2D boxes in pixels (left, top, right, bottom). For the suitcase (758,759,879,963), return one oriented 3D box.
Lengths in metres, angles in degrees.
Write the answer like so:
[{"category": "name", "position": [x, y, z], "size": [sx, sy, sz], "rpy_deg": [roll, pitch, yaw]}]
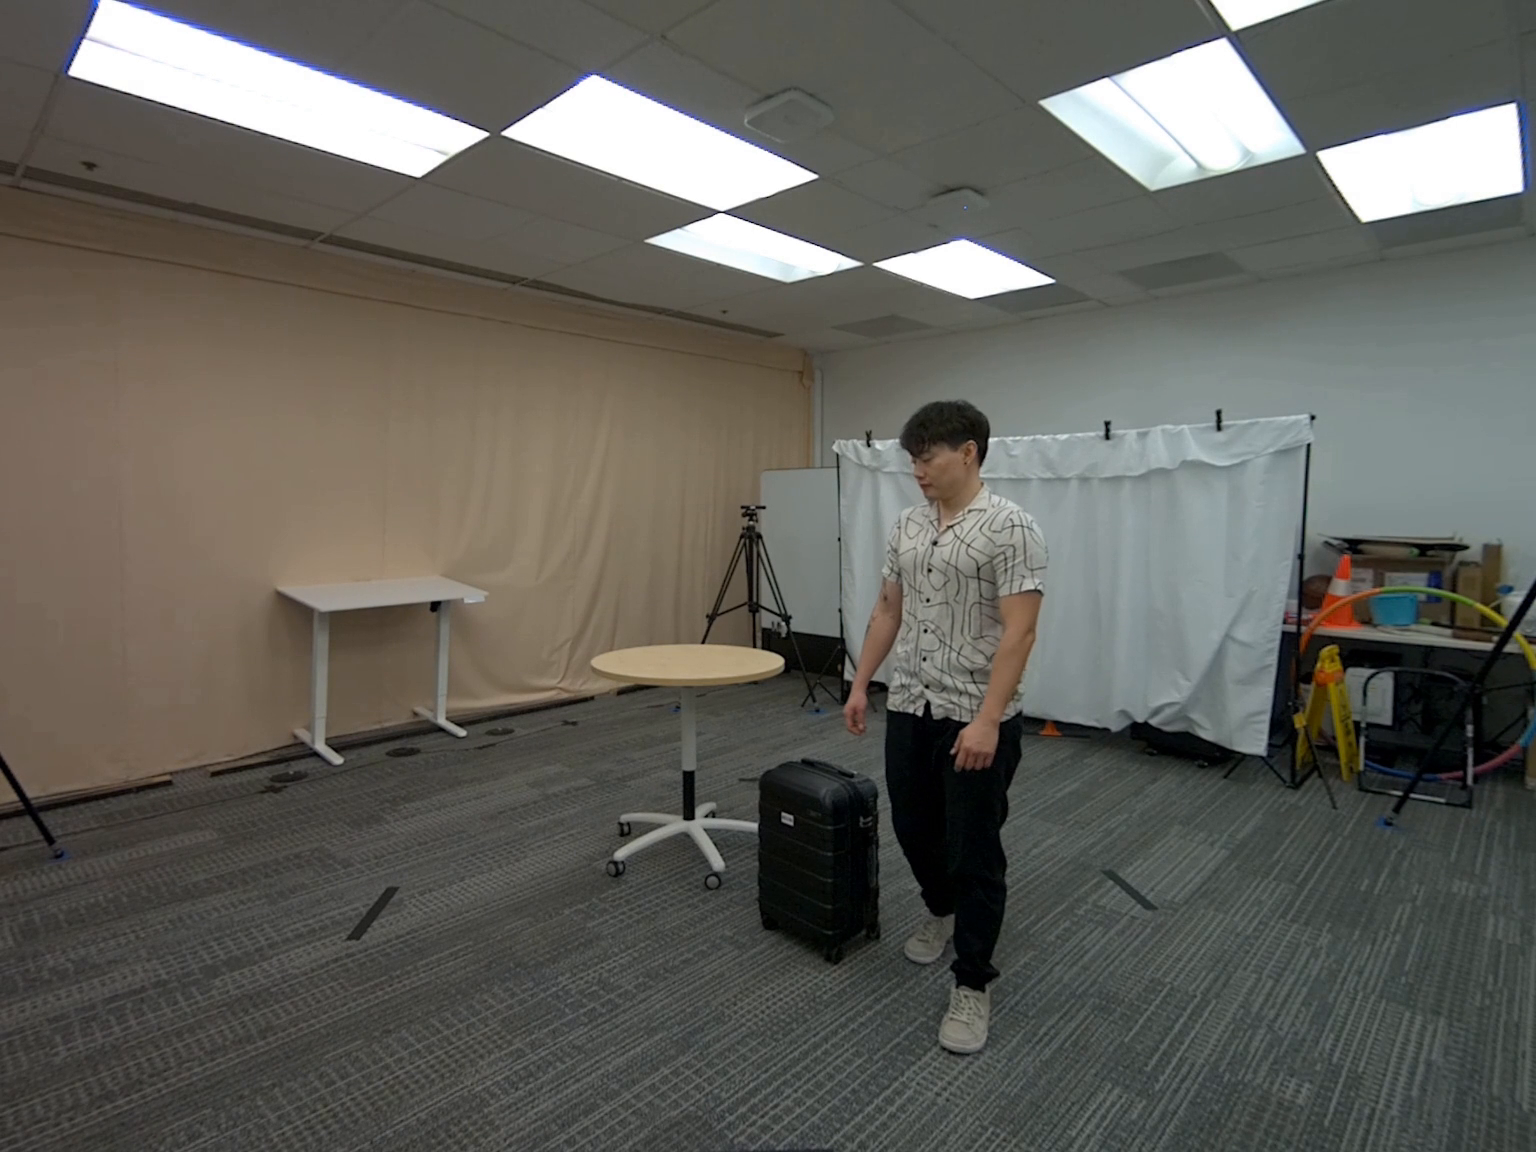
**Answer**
[{"category": "suitcase", "position": [0.166, 0.888, 2.720], "size": [0.241, 0.548, 0.388], "rpy_deg": [-5, 6, -42]}]
